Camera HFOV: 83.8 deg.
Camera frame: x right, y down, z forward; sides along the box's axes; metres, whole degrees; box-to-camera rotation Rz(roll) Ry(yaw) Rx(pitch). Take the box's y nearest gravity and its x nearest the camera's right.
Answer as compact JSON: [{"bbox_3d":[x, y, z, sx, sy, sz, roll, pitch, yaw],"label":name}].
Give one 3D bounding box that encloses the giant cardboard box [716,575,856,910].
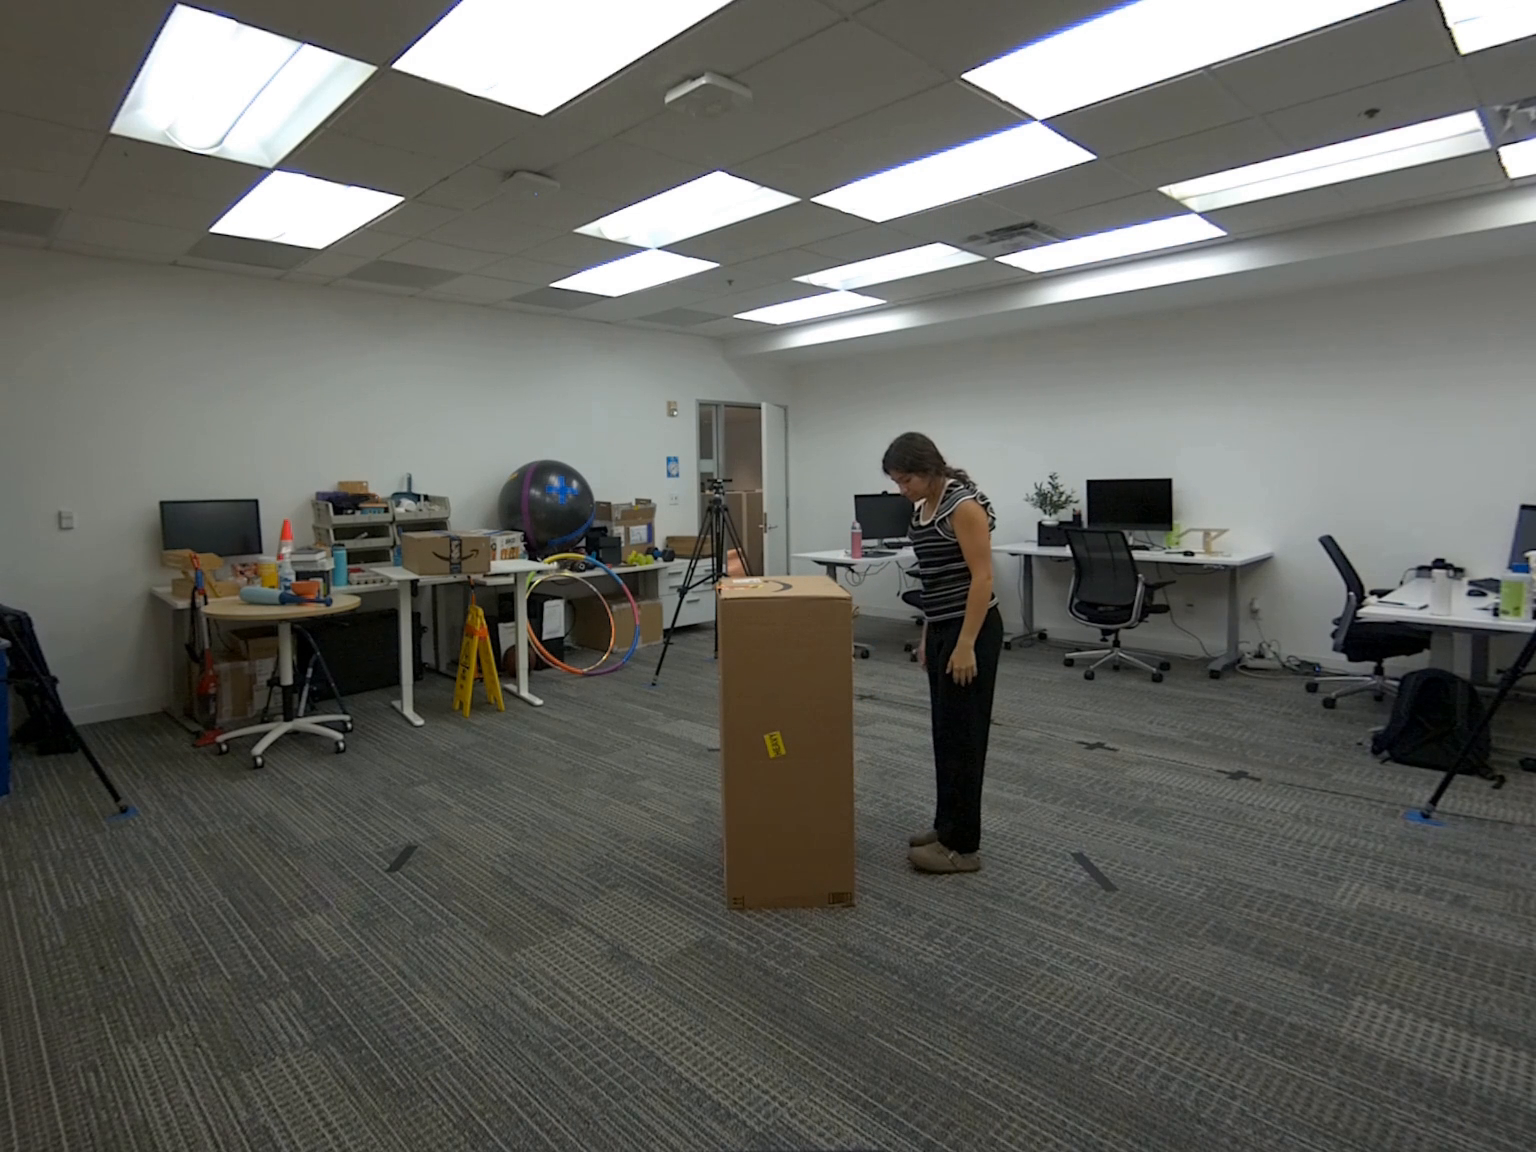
[{"bbox_3d":[0.050,0.544,3.027,0.426,1.022,0.580,-1,4,-2],"label":"giant cardboard box"}]
